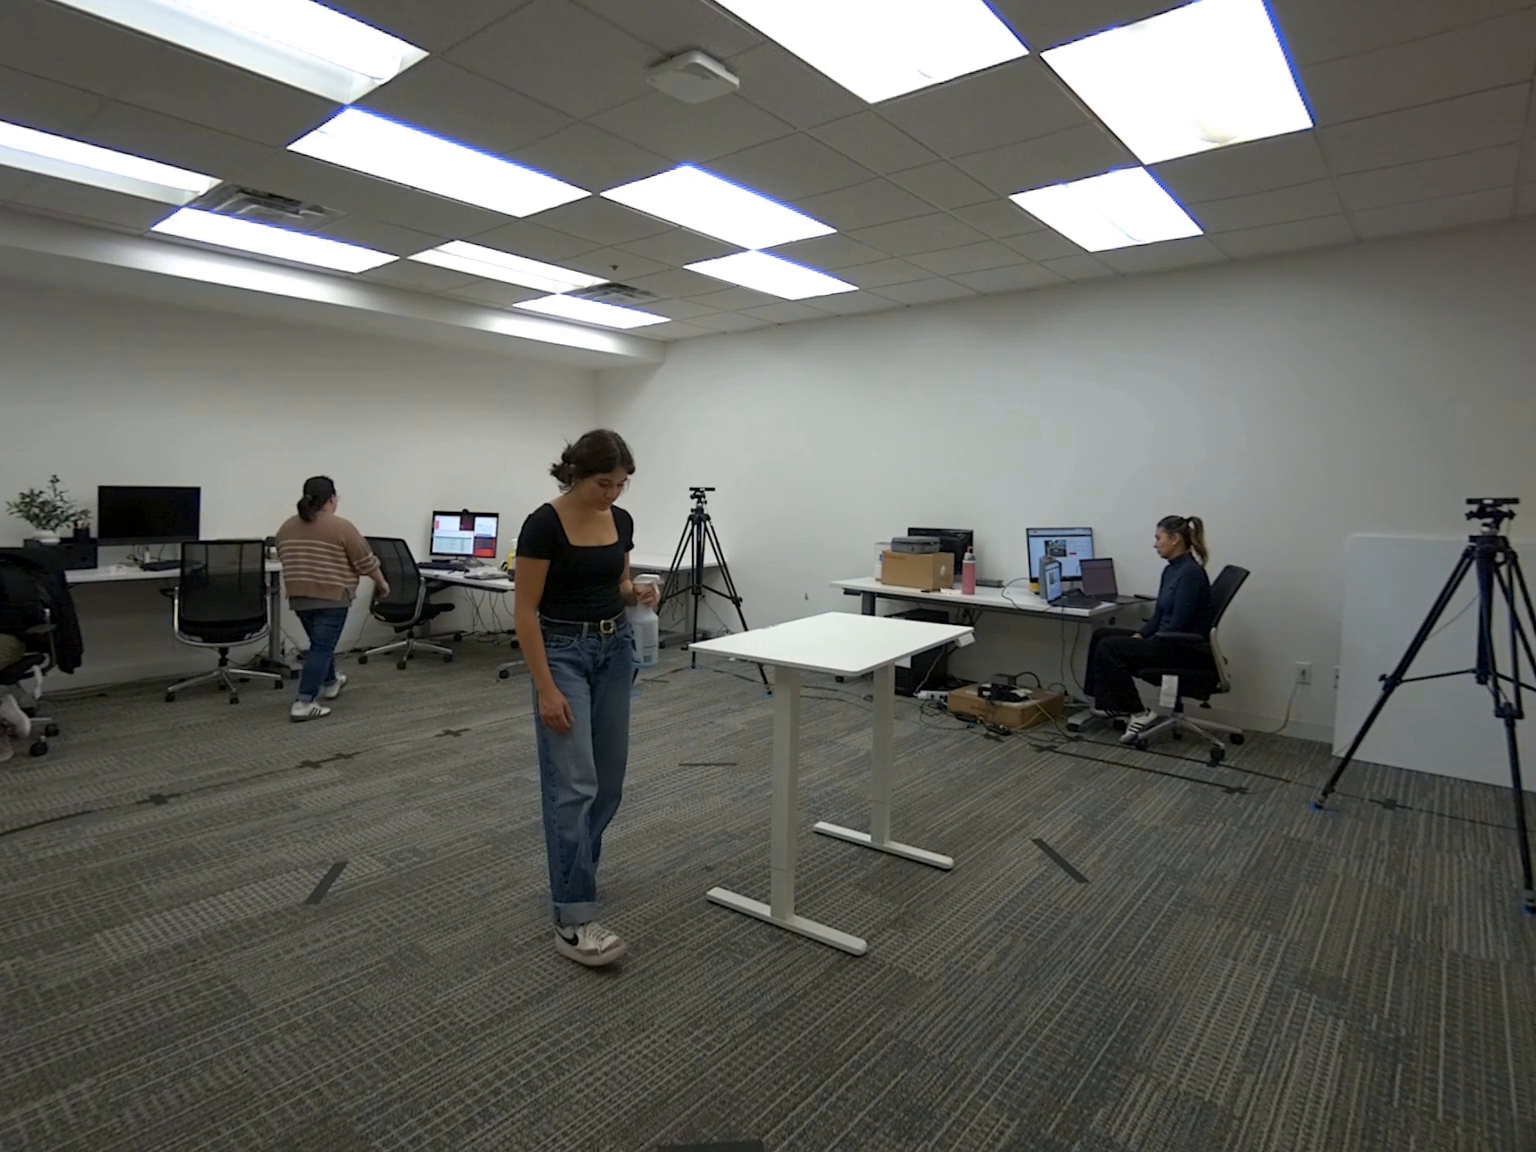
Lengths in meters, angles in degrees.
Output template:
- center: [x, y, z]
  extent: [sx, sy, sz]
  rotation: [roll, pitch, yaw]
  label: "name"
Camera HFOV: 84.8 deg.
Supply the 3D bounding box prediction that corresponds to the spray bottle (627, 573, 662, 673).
- center: [-0.408, 0.144, 2.673]
  extent: [0.093, 0.295, 0.084]
  rotation: [11, 13, 43]
  label: "spray bottle"
